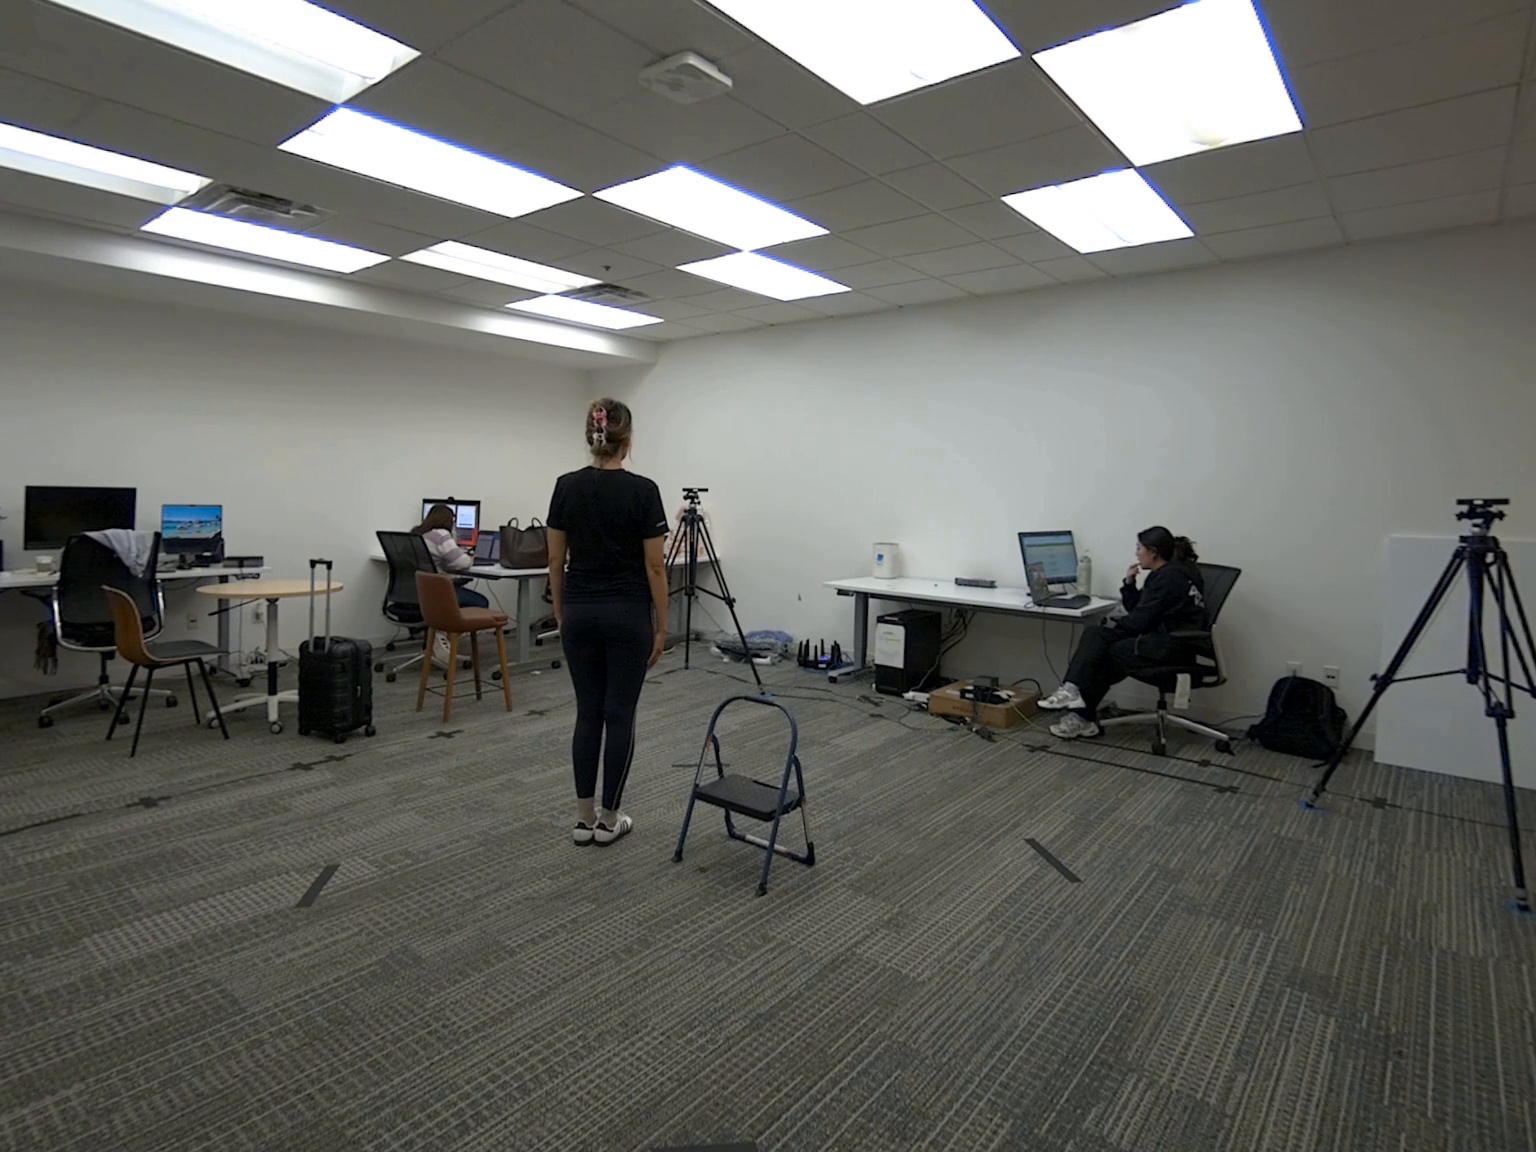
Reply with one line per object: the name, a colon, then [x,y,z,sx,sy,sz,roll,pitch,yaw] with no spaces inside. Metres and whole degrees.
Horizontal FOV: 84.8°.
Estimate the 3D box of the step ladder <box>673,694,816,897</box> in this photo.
step ladder: [-0.087,0.763,3.158,0.445,0.604,0.339,4,4,38]
